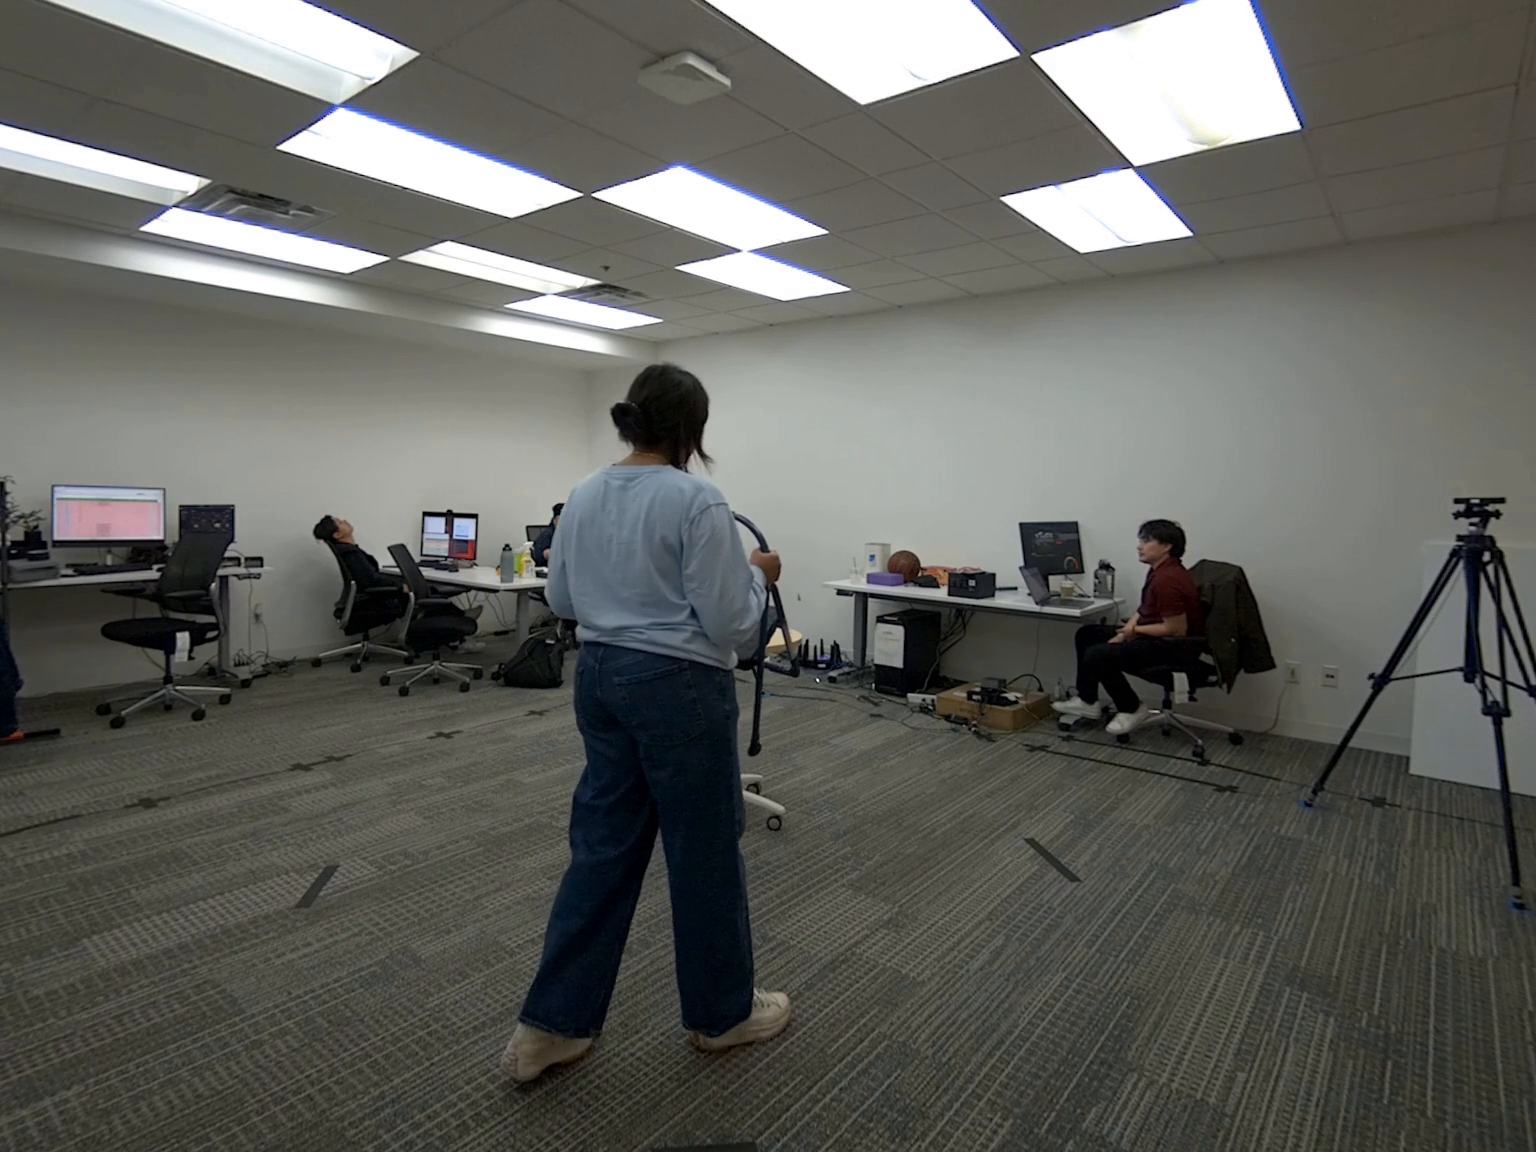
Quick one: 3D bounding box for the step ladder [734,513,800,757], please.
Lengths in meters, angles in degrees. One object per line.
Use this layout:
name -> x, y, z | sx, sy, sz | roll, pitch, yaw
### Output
step ladder -> -0.181, 0.107, 2.360 | 0.442, 0.589, 0.350 | 11, 37, 23
